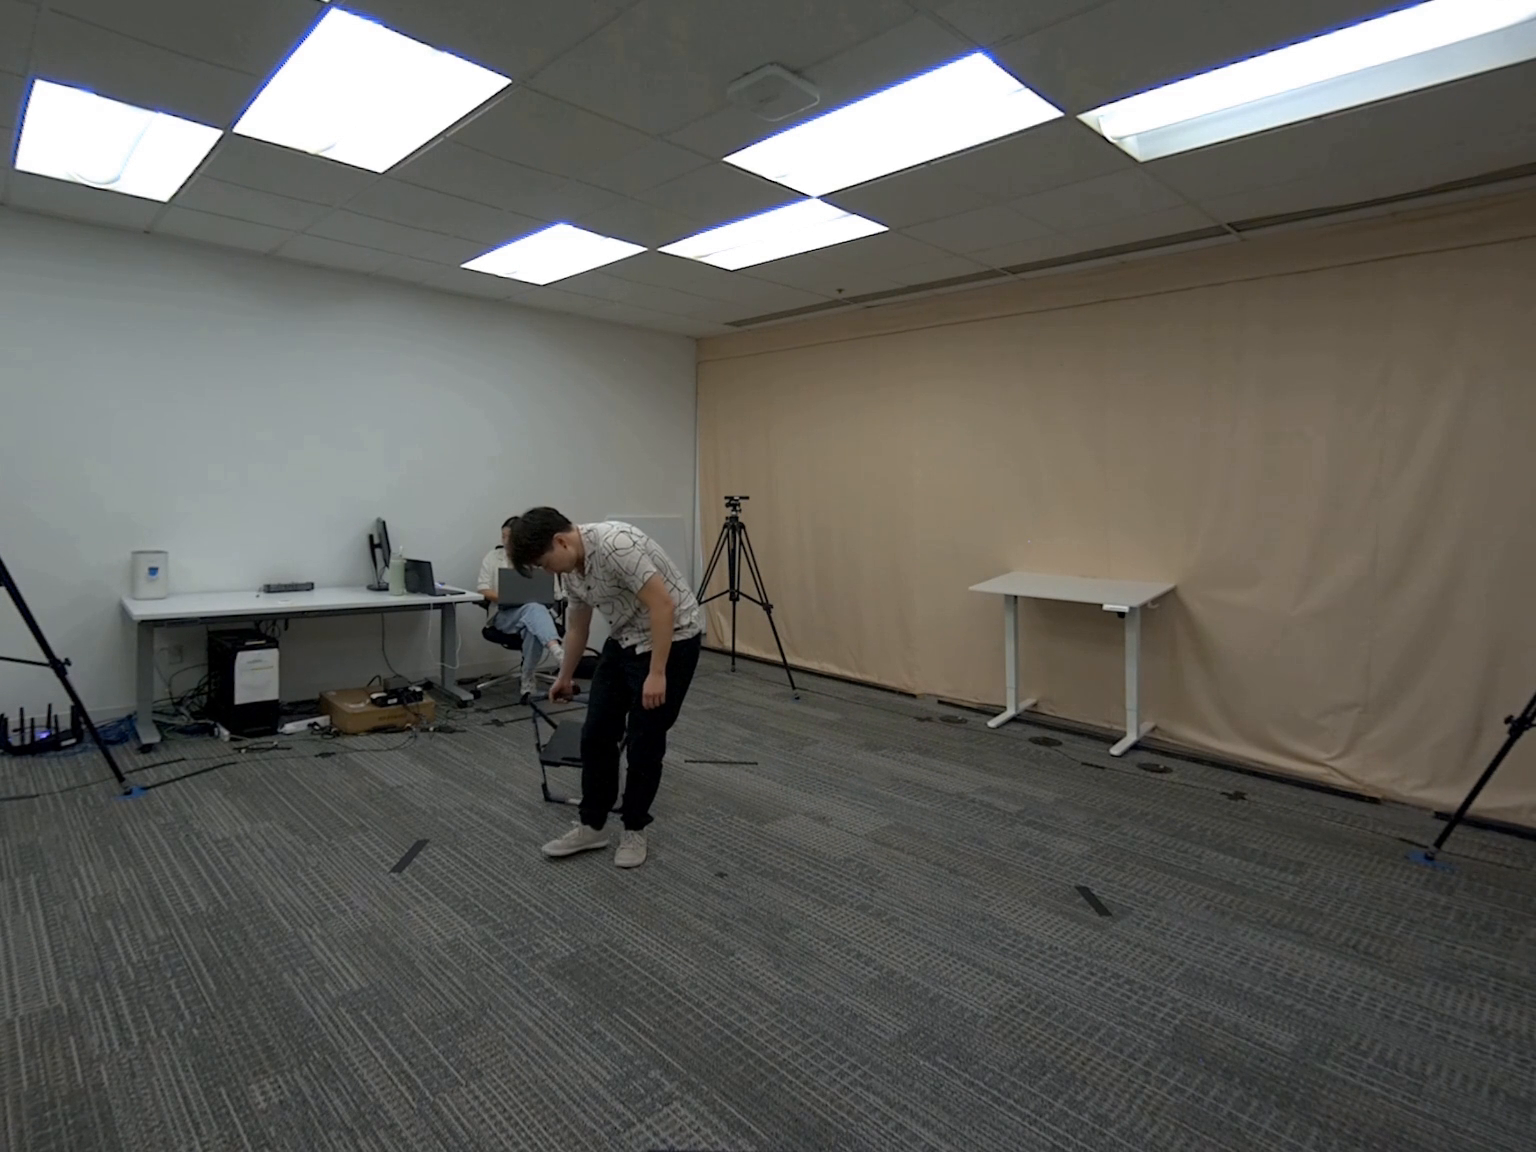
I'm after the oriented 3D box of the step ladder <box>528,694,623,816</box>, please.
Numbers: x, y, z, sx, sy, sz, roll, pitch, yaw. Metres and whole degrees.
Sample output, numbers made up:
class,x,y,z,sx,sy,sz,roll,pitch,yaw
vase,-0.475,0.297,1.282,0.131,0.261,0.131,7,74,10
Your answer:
class,x,y,z,sx,sy,sz,roll,pitch,yaw
step ladder,-0.822,0.697,3.716,0.437,0.591,0.352,3,36,17
